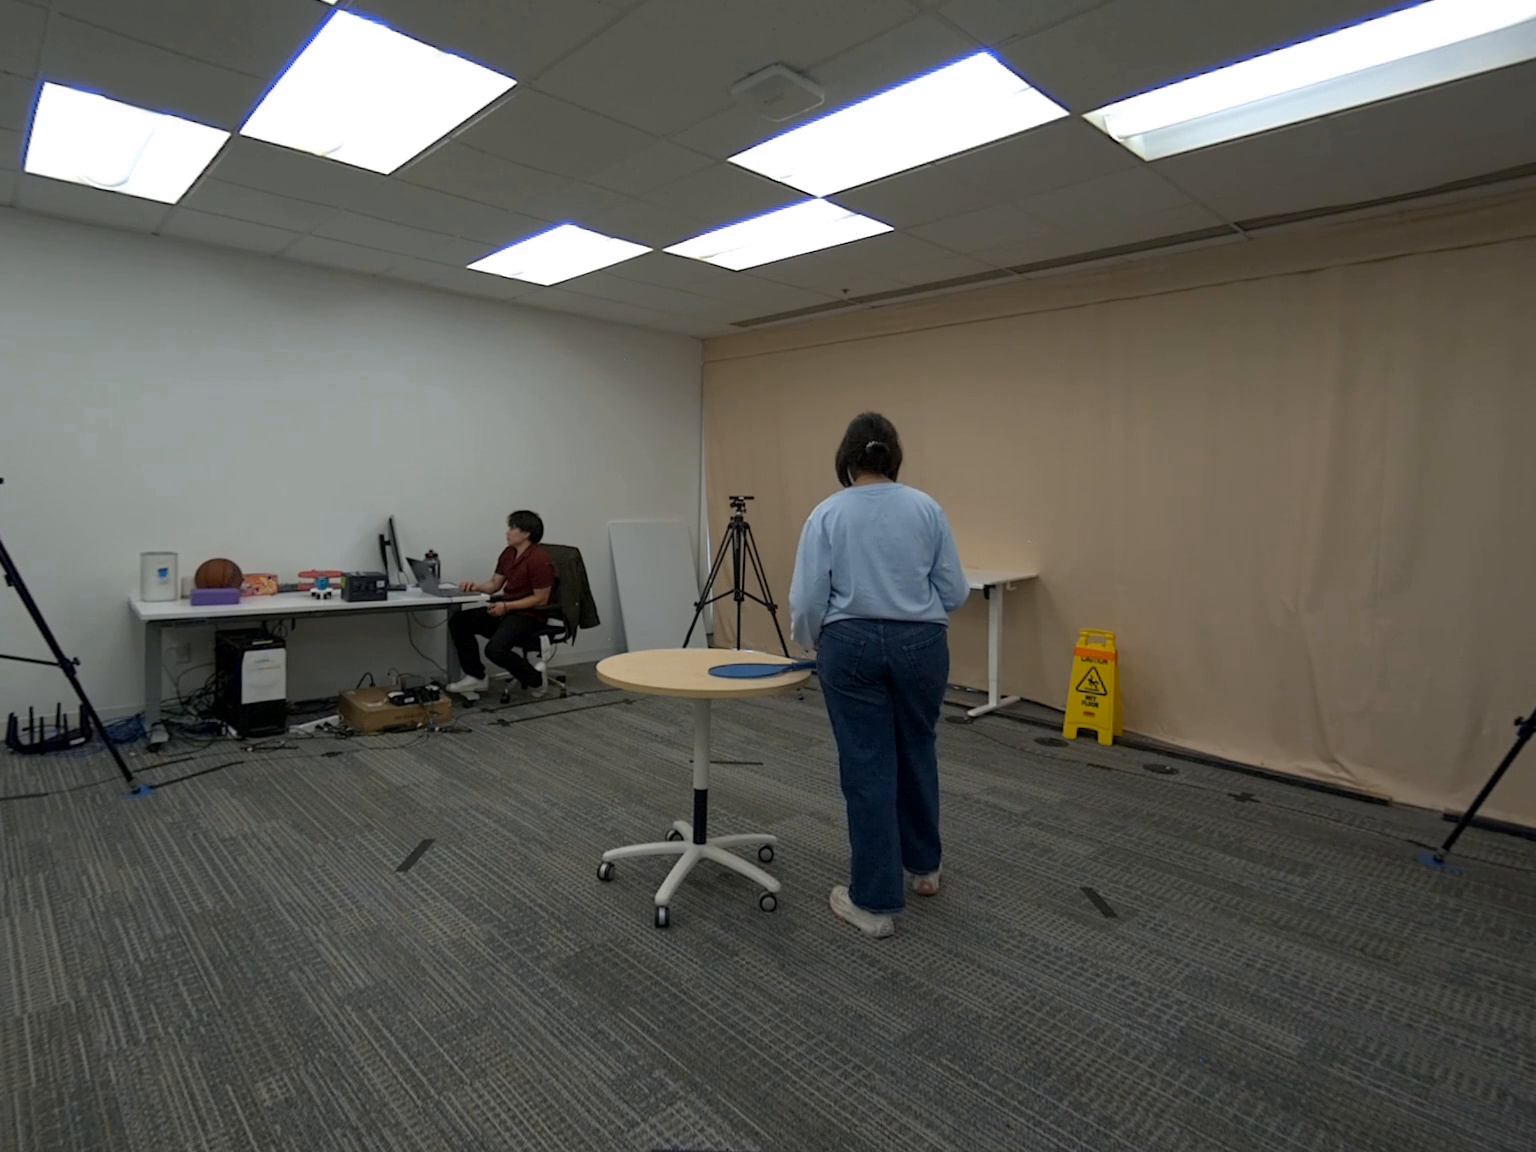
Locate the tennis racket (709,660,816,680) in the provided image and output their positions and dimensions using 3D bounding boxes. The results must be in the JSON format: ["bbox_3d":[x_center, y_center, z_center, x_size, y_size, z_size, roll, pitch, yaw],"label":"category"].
[{"bbox_3d":[-0.002,0.328,2.944,0.427,0.031,0.217,-2,5,-18],"label":"tennis racket"}]
